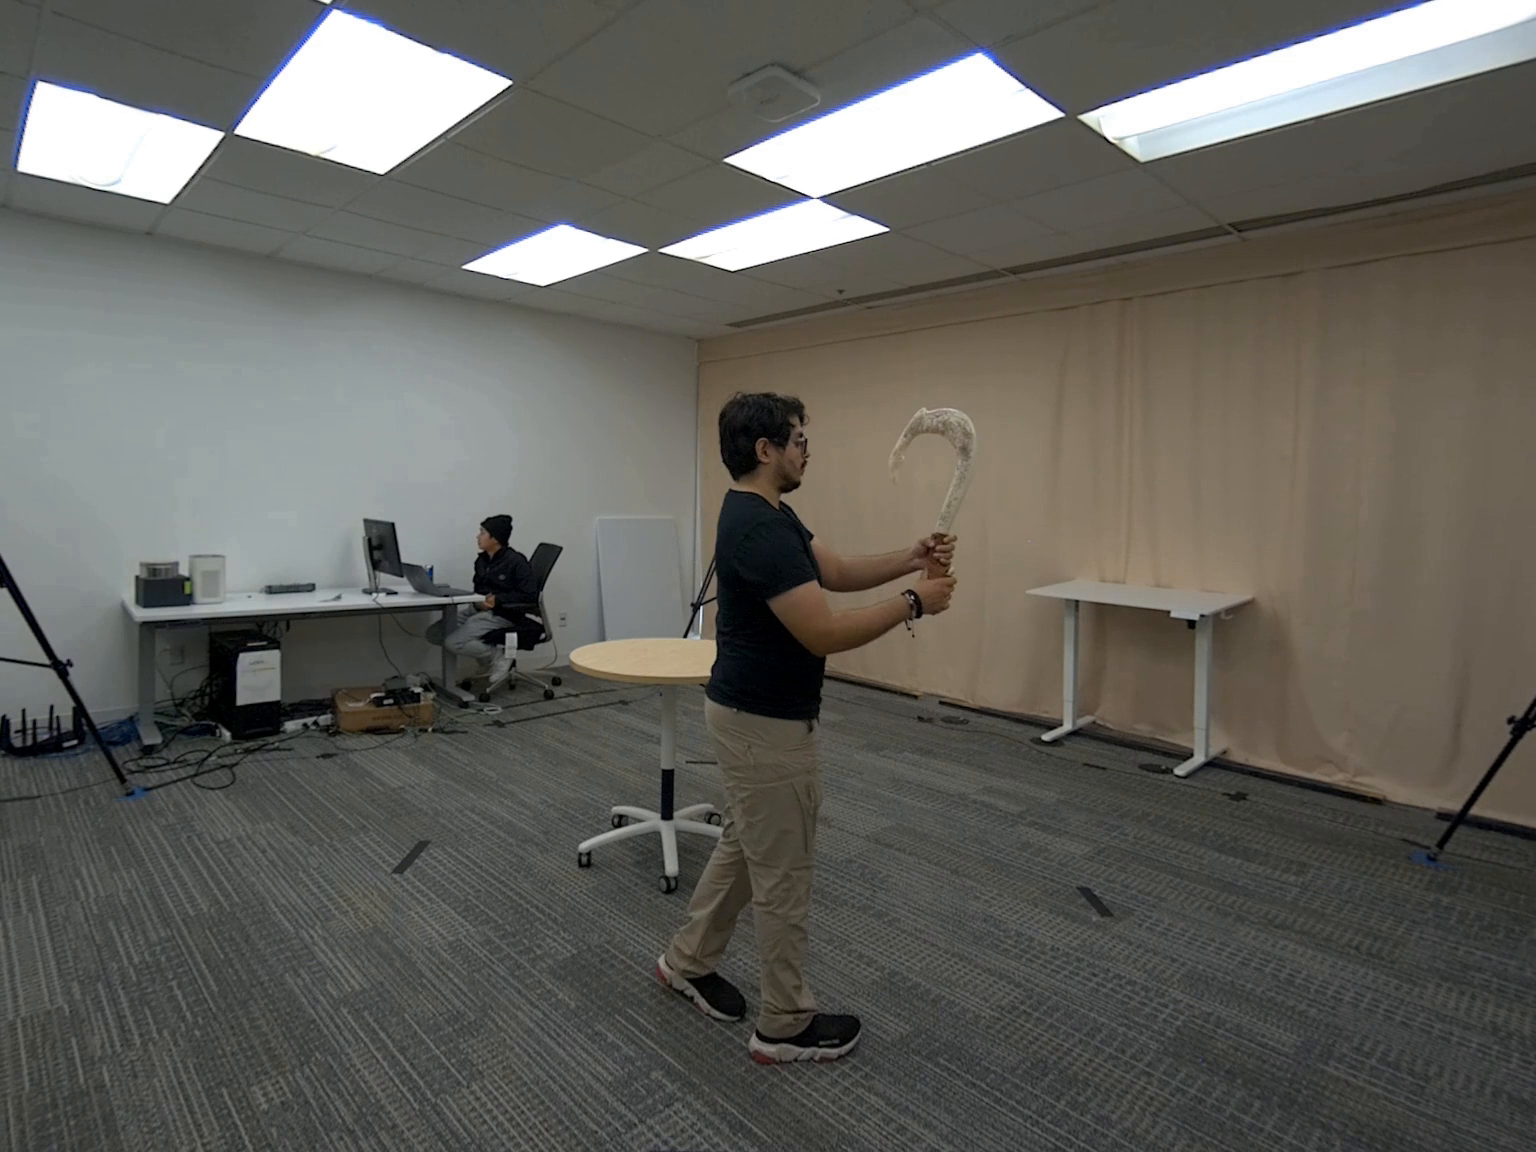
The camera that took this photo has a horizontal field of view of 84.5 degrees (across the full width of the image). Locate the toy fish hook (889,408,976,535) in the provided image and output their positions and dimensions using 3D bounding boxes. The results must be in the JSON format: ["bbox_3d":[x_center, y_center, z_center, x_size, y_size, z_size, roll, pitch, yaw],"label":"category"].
[{"bbox_3d":[0.382,-0.165,2.069,0.230,0.507,0.047,6,-3,41],"label":"toy fish hook"}]
